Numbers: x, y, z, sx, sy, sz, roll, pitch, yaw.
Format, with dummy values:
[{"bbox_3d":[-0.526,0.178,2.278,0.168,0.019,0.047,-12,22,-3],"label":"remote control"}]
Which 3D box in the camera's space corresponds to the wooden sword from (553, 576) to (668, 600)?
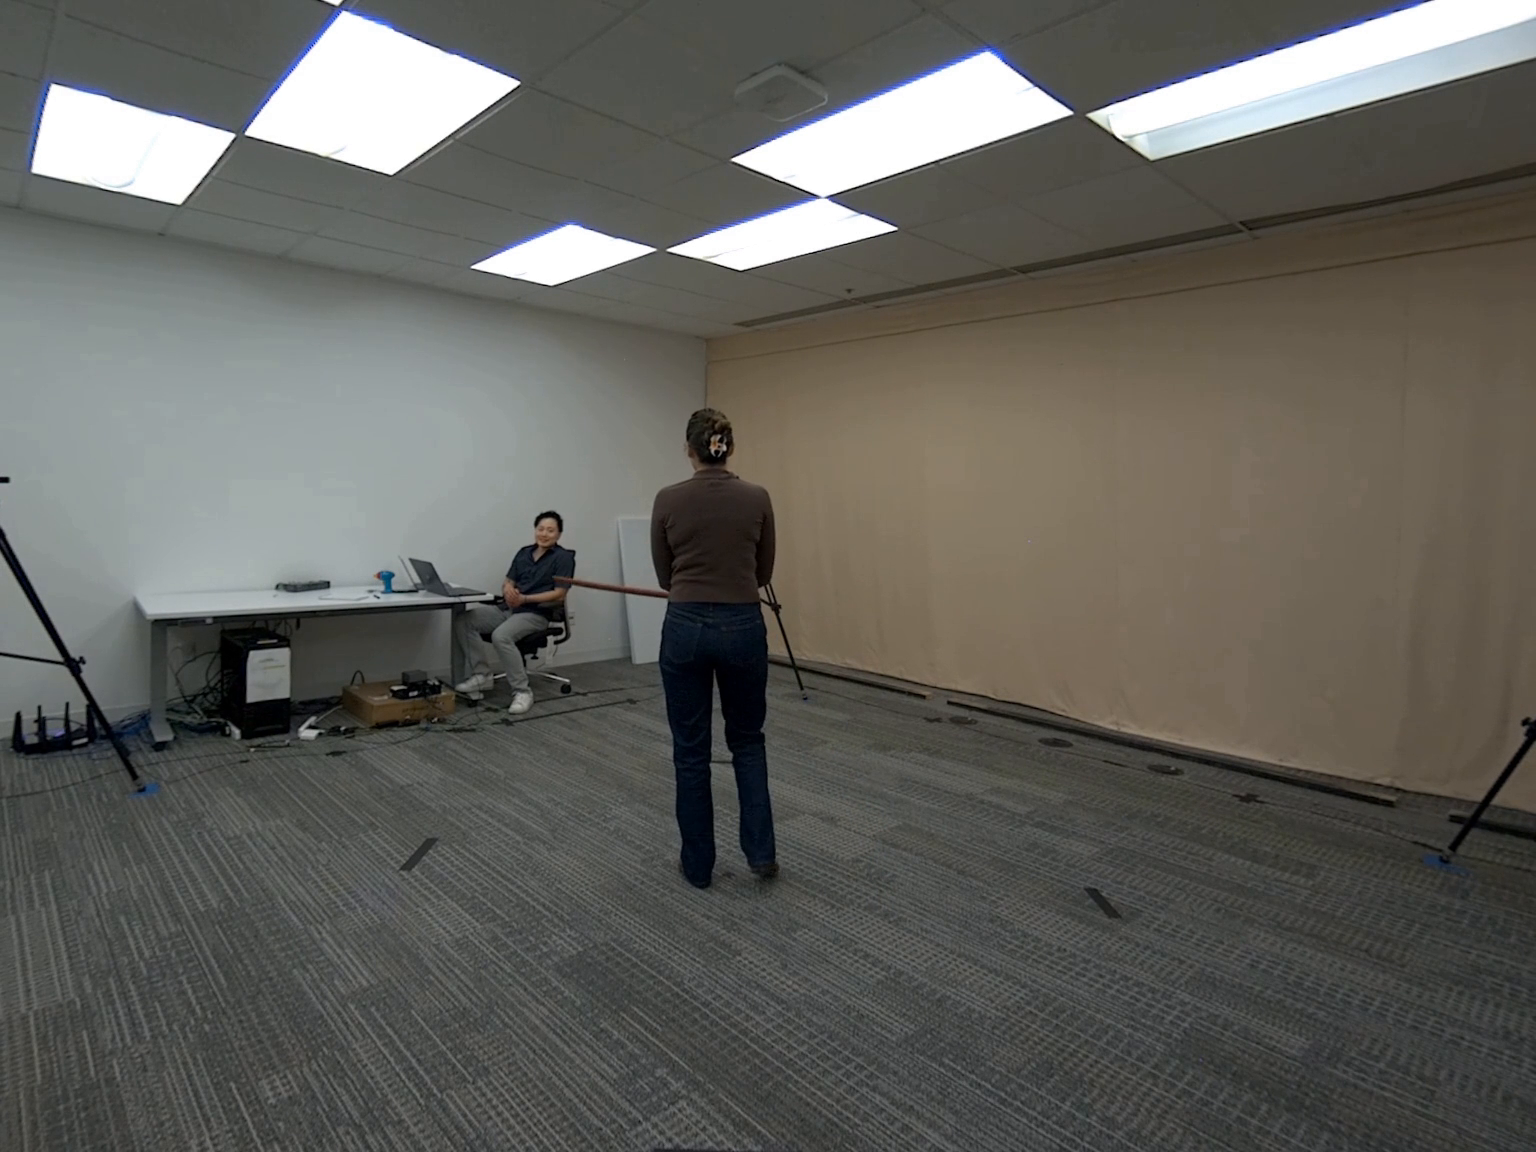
[{"bbox_3d":[-0.528,0.066,3.566,1.045,0.052,0.023,6,-18,25],"label":"wooden sword"}]
